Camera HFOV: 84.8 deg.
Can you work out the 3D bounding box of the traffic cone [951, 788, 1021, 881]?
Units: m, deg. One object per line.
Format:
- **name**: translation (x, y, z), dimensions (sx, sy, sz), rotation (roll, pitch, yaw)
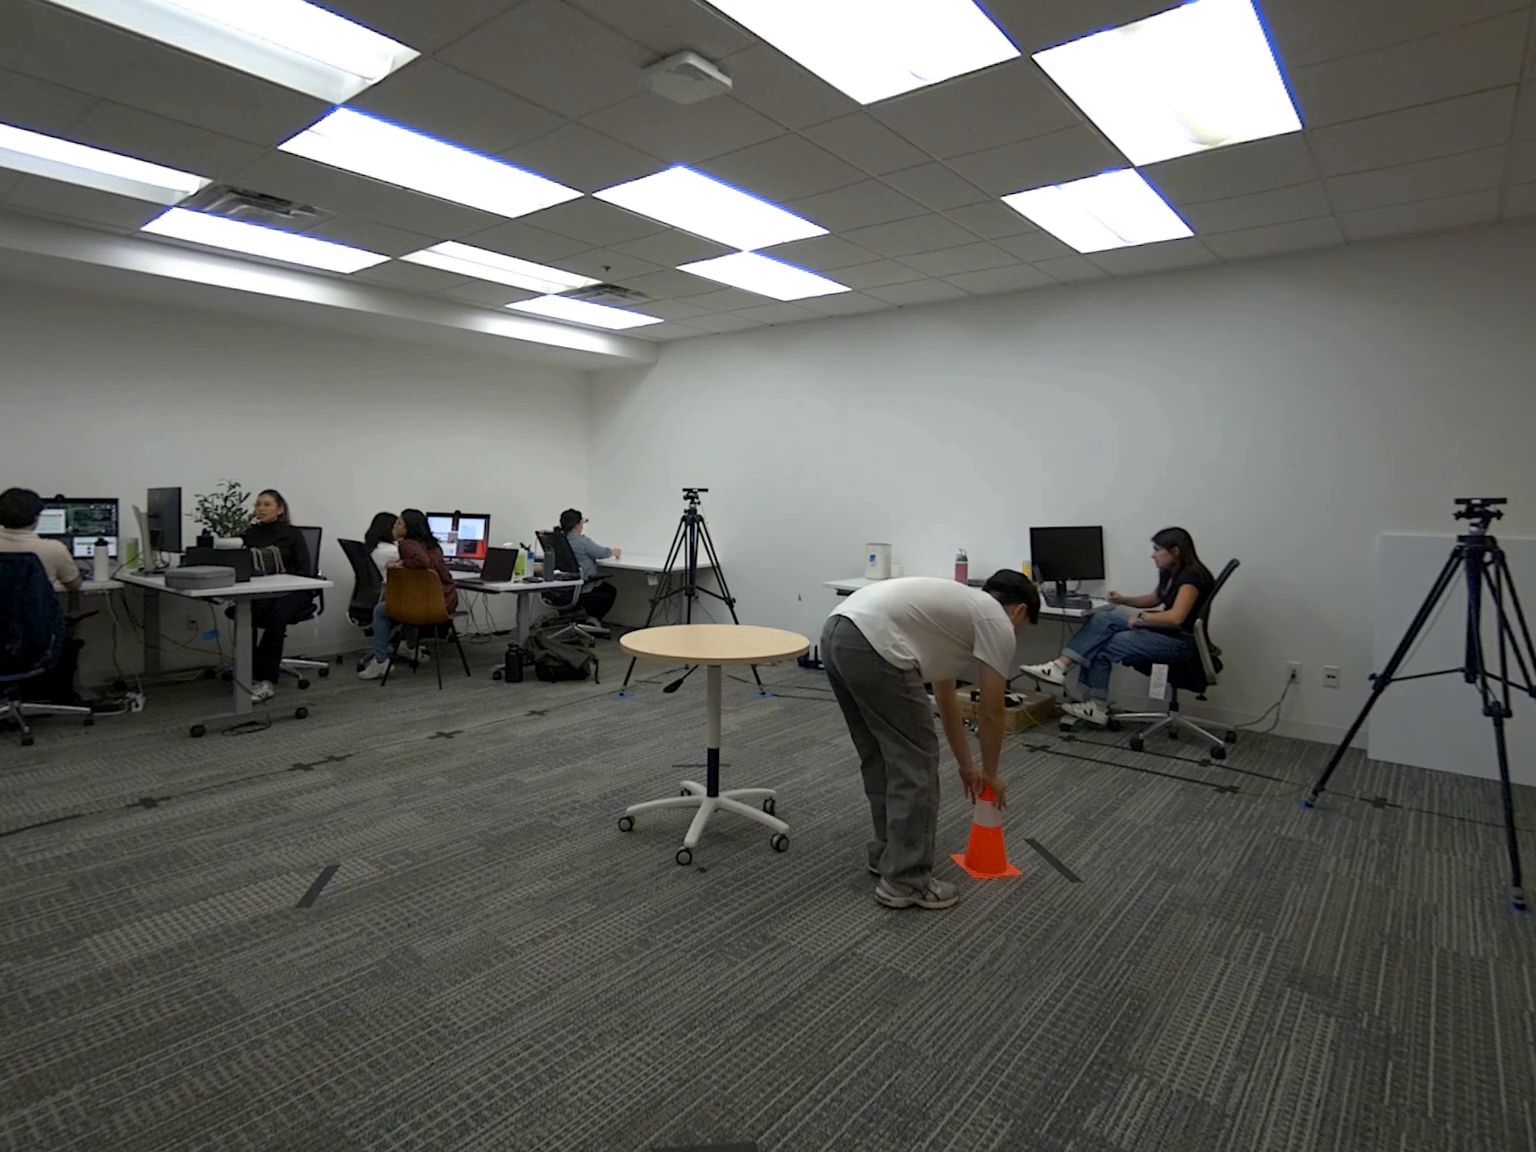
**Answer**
- **traffic cone**: translation (0.835, 0.900, 3.186), dimensions (0.201, 0.382, 0.209), rotation (0, 6, -21)
